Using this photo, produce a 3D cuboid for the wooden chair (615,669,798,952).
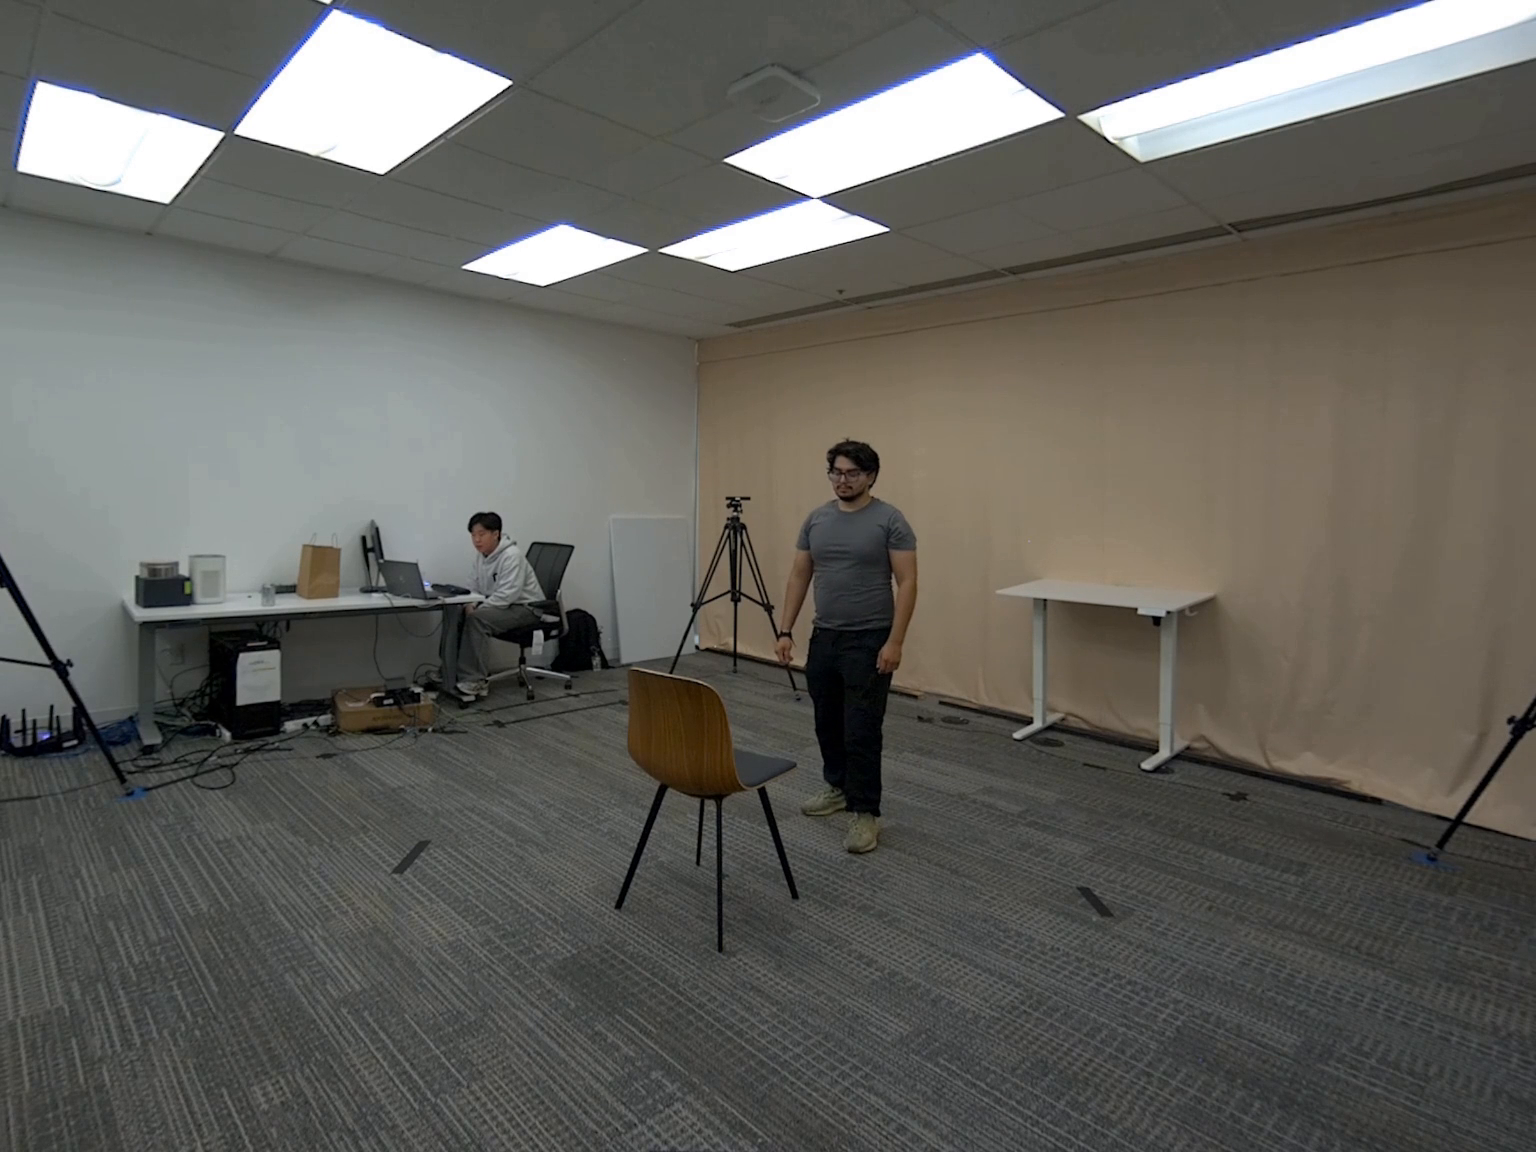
[{"bbox_3d":[-0.196,0.699,2.862,0.489,0.873,0.513,3,8,35],"label":"wooden chair"}]
